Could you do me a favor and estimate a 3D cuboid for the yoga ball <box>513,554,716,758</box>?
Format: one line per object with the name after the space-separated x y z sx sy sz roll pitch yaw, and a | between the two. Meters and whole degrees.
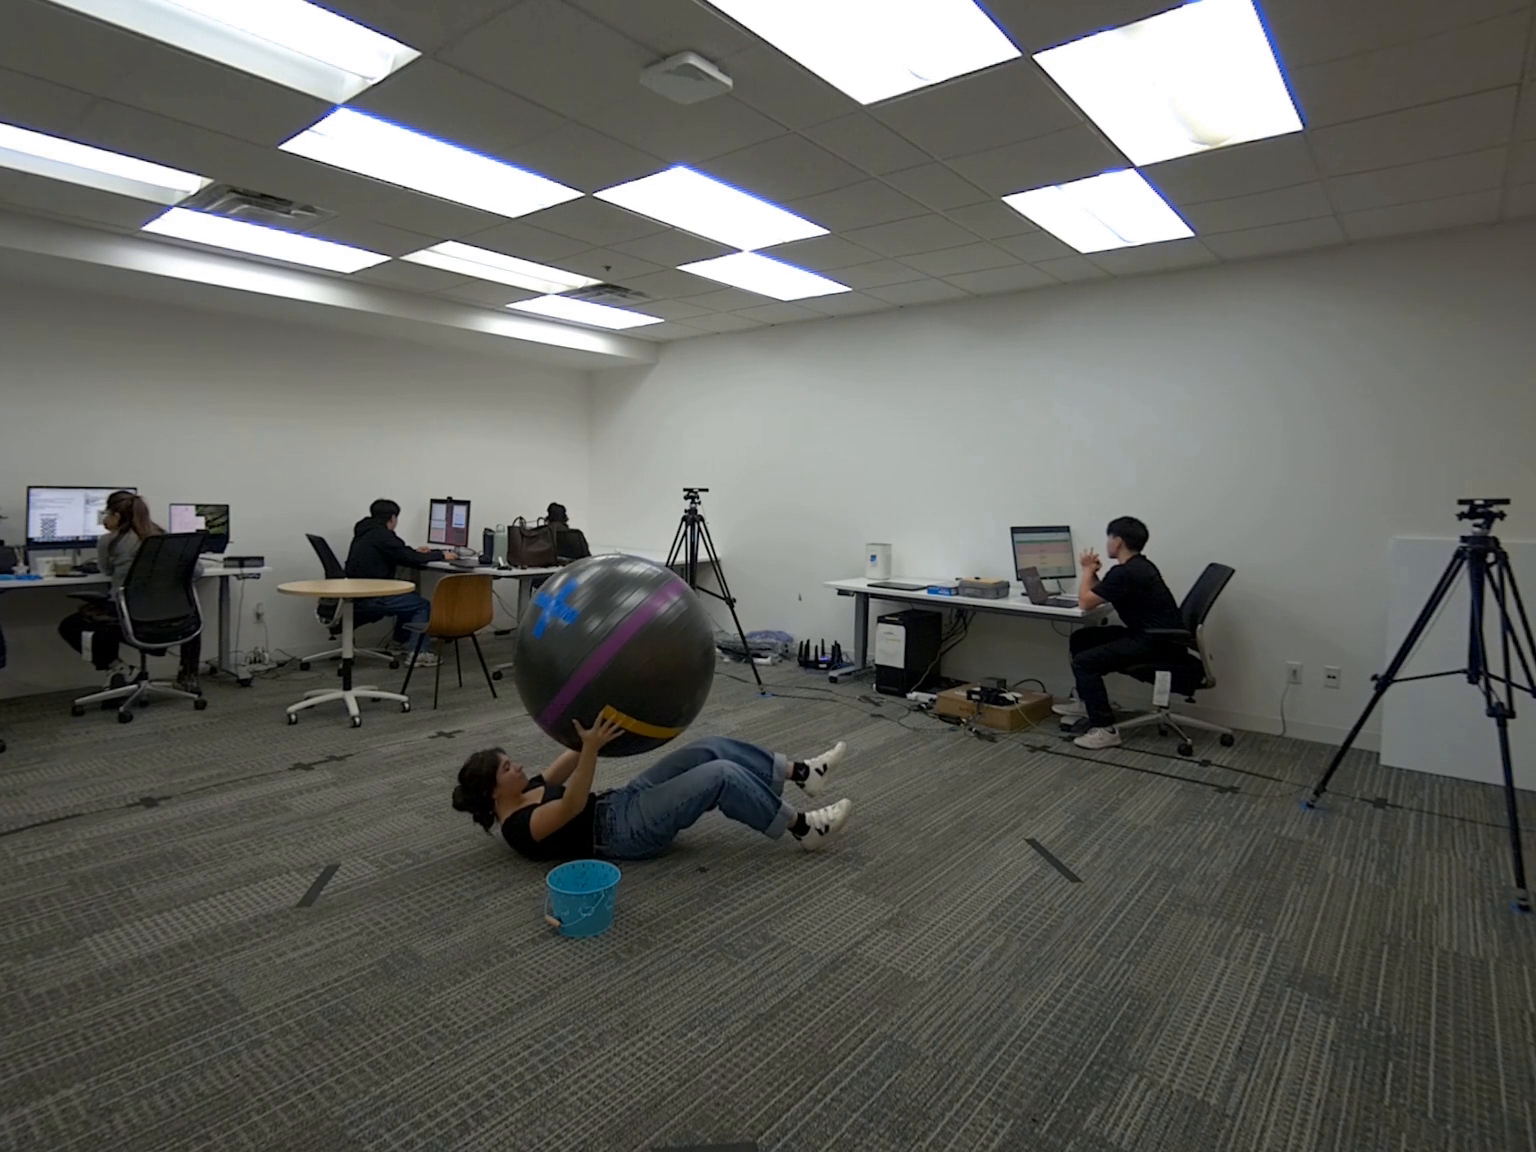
-0.592 0.298 3.201 0.757 0.756 0.761 1 4 -2 | yoga ball
